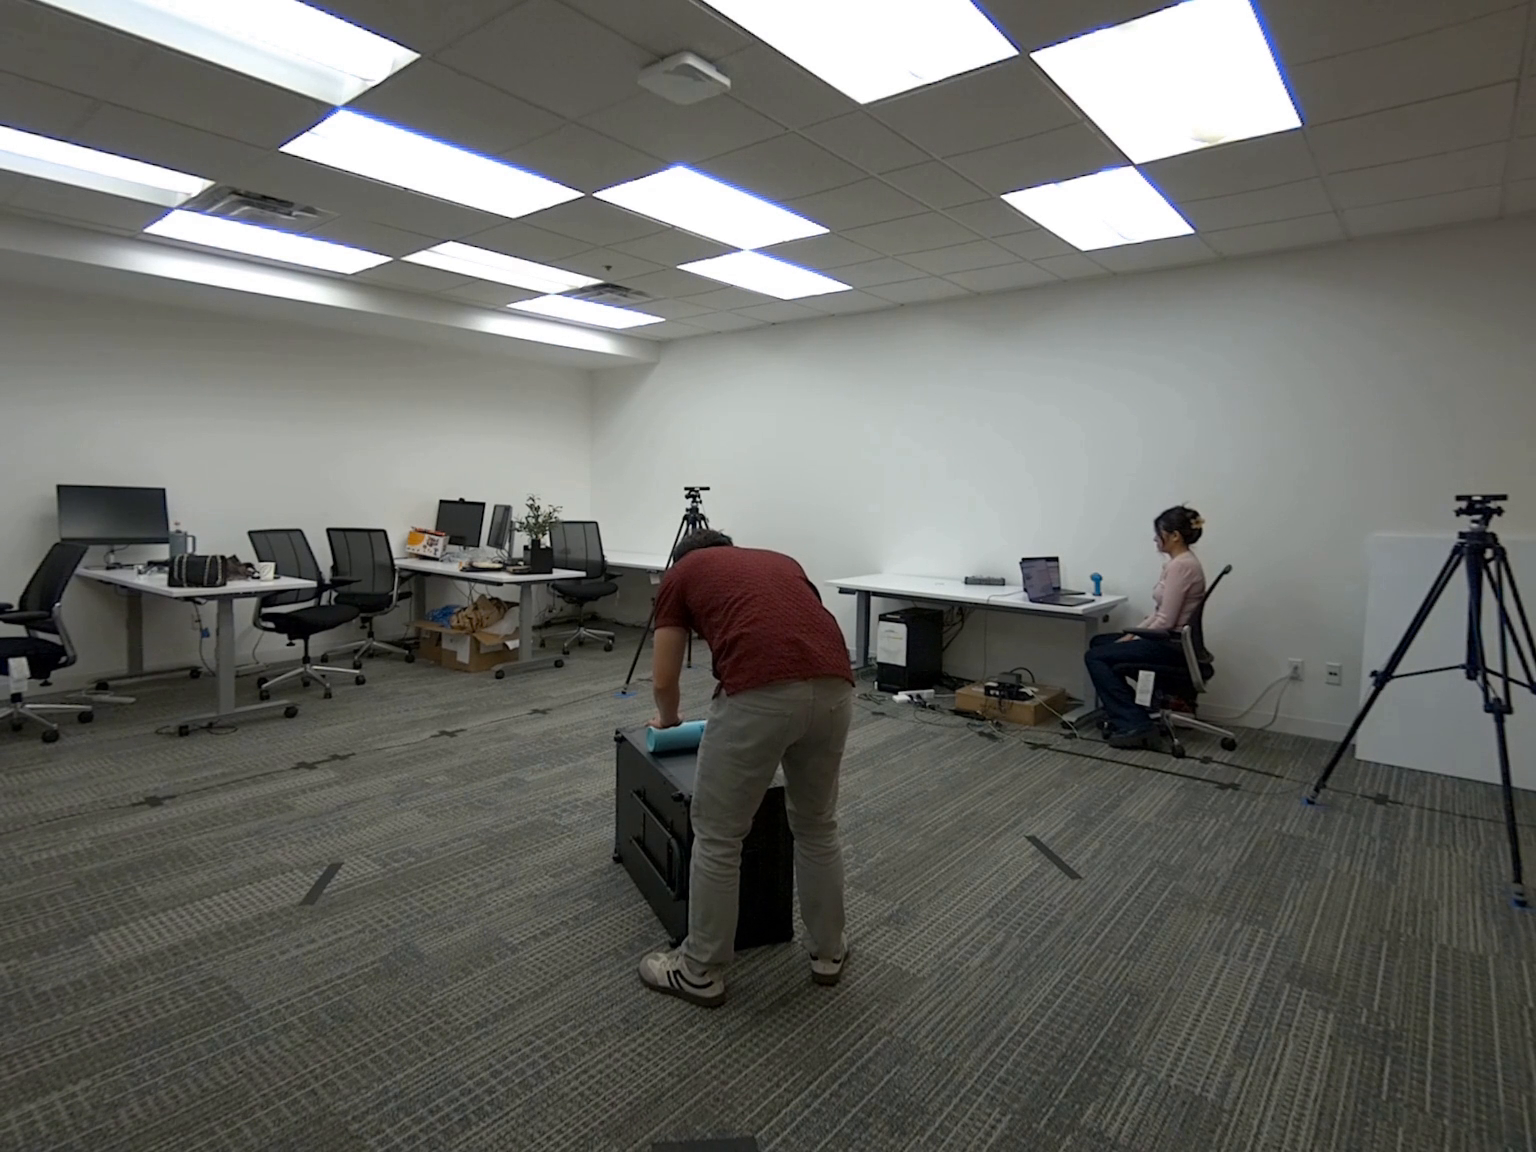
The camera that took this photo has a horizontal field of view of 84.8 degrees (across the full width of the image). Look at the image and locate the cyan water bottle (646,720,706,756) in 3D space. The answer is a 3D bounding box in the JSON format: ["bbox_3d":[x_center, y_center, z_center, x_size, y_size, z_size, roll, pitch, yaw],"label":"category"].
[{"bbox_3d":[-0.290,0.548,2.955,0.277,0.092,0.095,0,4,-23],"label":"cyan water bottle"}]
